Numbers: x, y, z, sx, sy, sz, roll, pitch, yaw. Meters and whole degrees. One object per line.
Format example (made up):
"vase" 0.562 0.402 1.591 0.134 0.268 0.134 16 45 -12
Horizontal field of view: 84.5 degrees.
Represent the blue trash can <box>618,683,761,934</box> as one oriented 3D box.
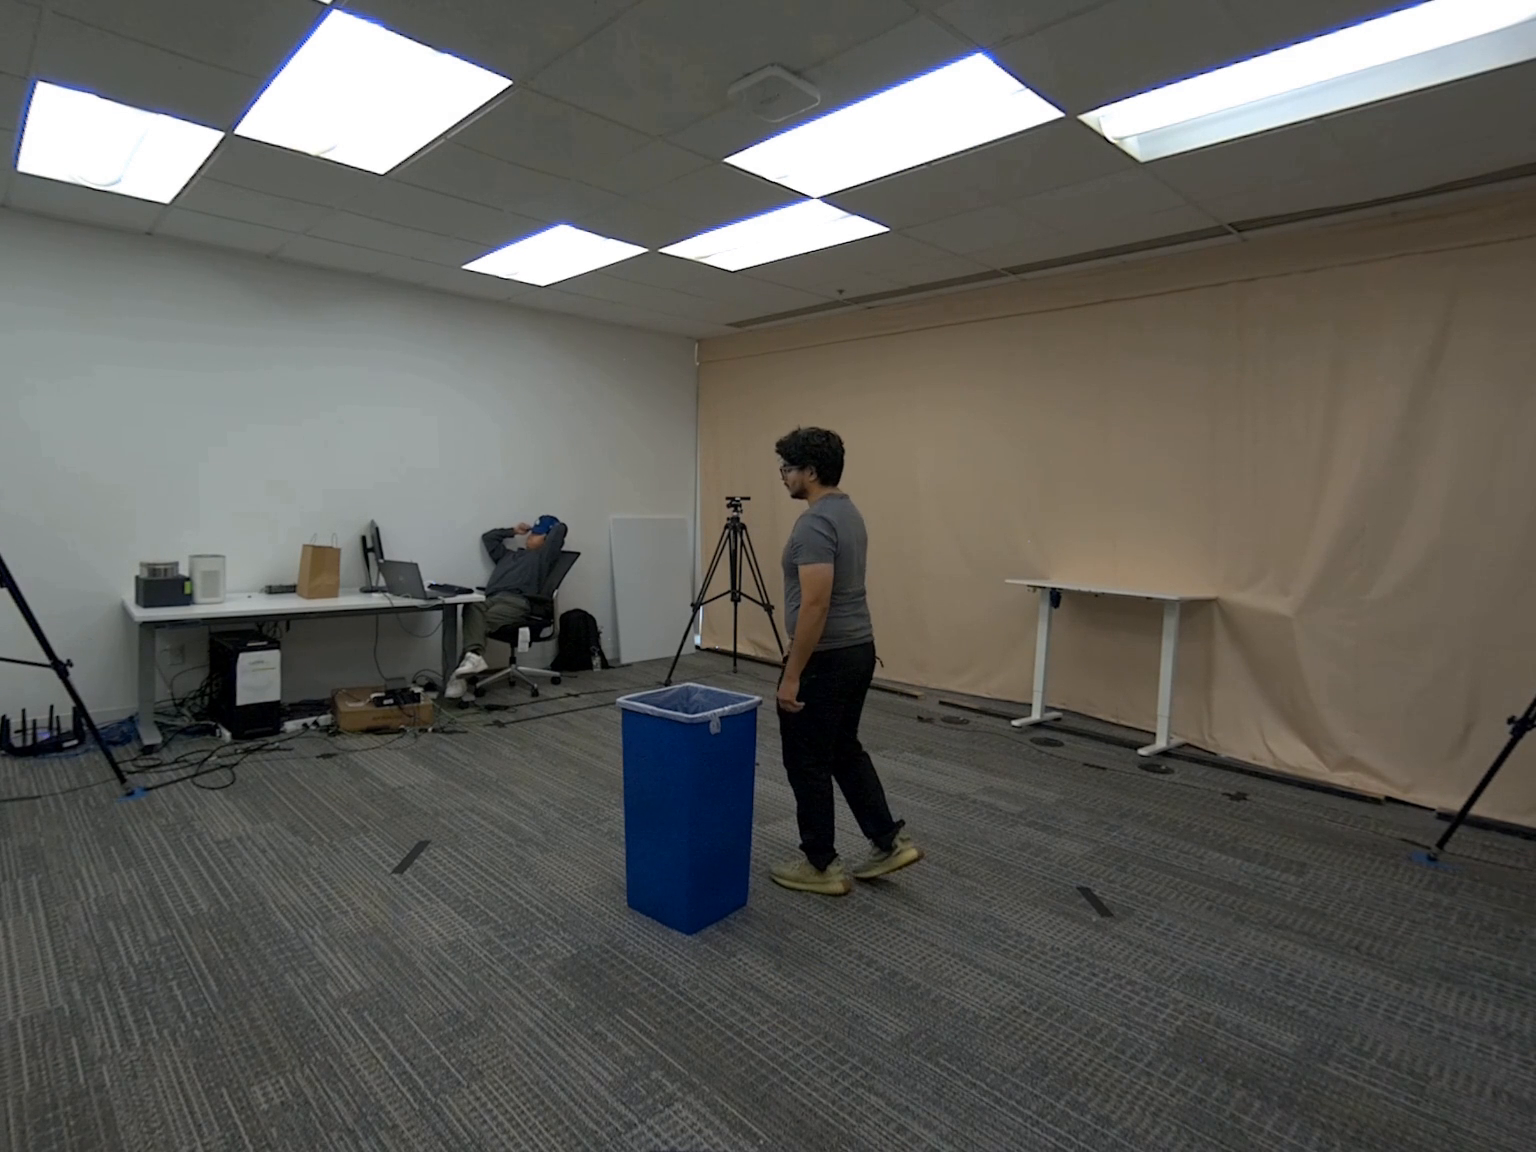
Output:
"blue trash can" -0.284 0.770 2.860 0.383 0.712 0.369 4 4 40
